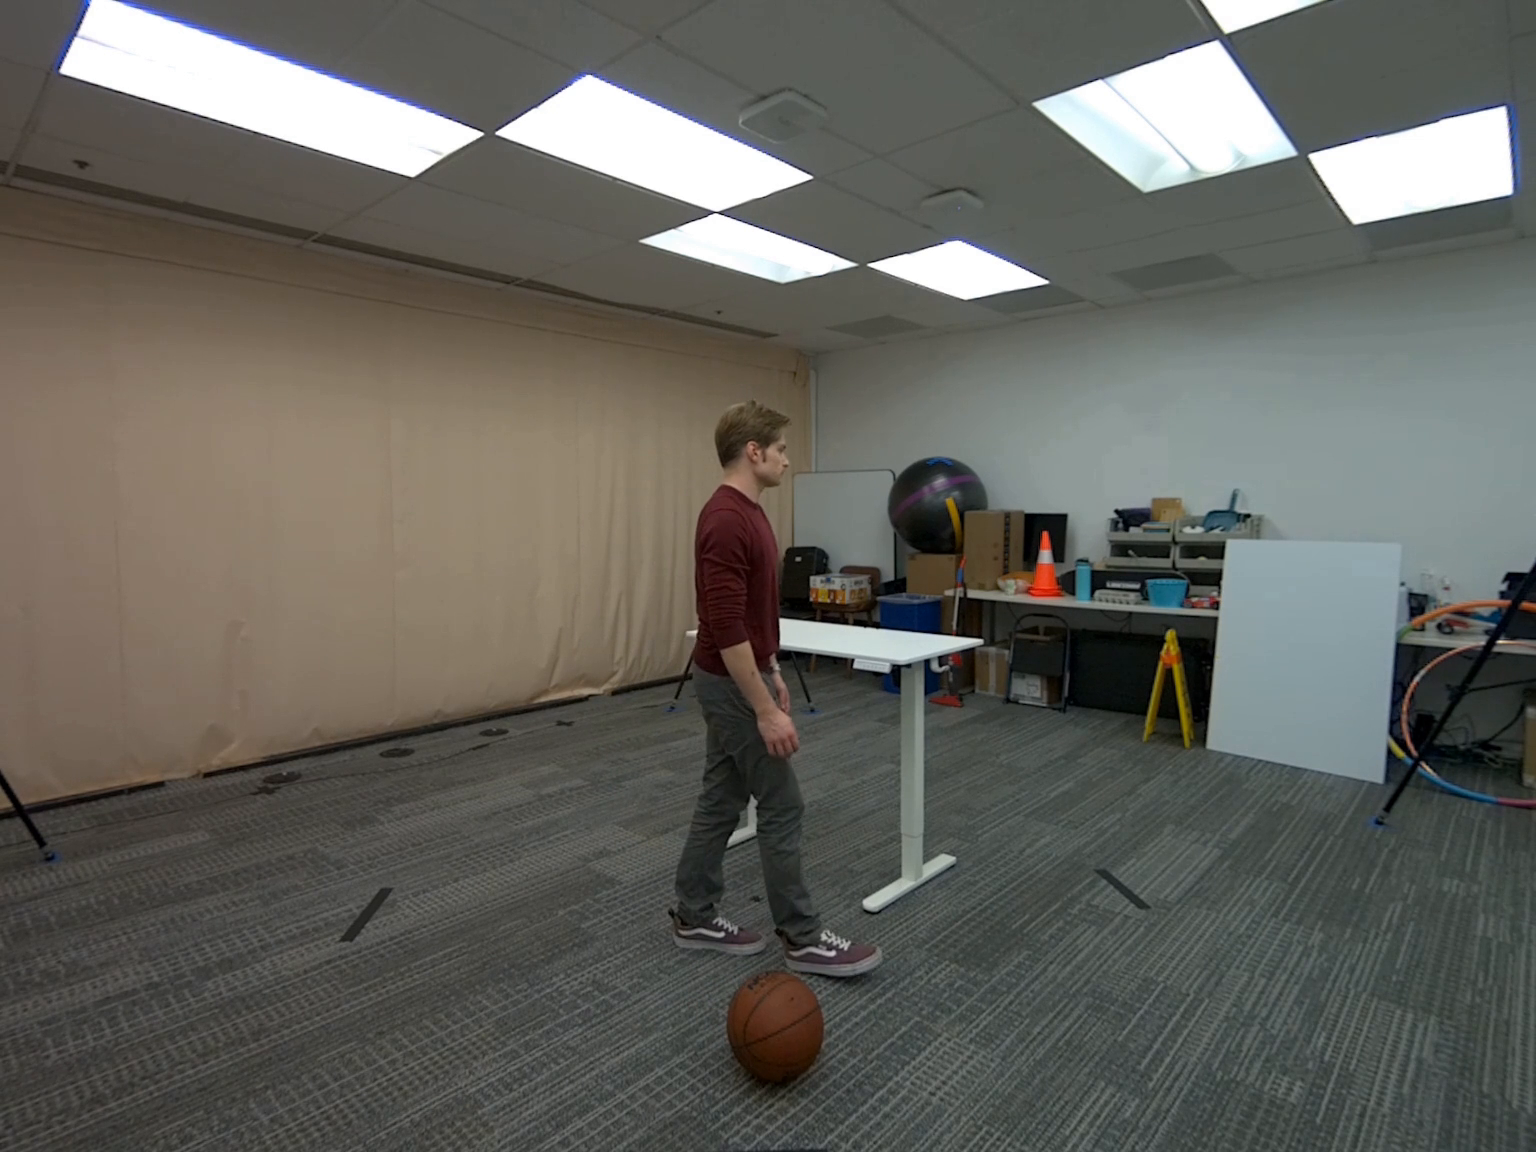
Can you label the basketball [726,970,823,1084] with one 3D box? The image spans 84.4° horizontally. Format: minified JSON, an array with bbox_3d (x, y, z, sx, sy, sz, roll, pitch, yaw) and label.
[{"bbox_3d":[0.014,1.102,2.064,0.236,0.235,0.237,0,4,-2],"label":"basketball"}]
